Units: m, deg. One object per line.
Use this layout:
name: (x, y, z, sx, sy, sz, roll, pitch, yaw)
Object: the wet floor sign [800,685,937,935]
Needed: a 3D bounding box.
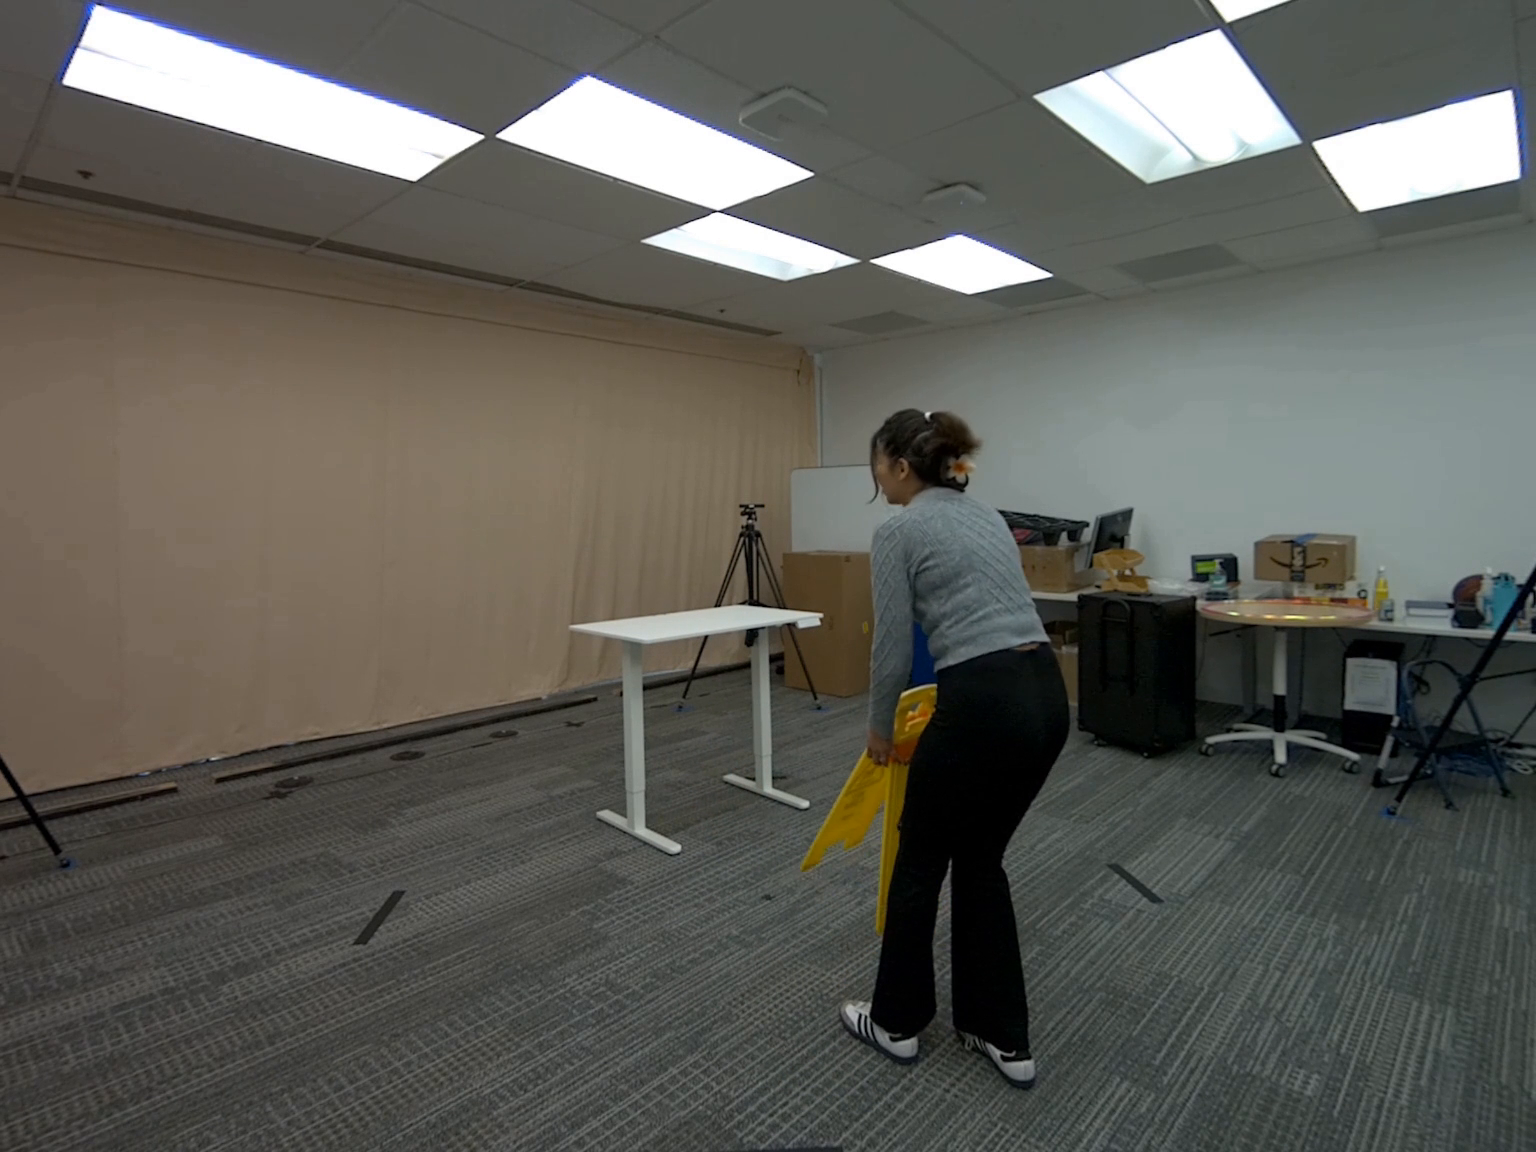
wet floor sign: (0.348, 0.615, 2.392, 0.274, 0.642, 0.300, -6, 24, -45)
